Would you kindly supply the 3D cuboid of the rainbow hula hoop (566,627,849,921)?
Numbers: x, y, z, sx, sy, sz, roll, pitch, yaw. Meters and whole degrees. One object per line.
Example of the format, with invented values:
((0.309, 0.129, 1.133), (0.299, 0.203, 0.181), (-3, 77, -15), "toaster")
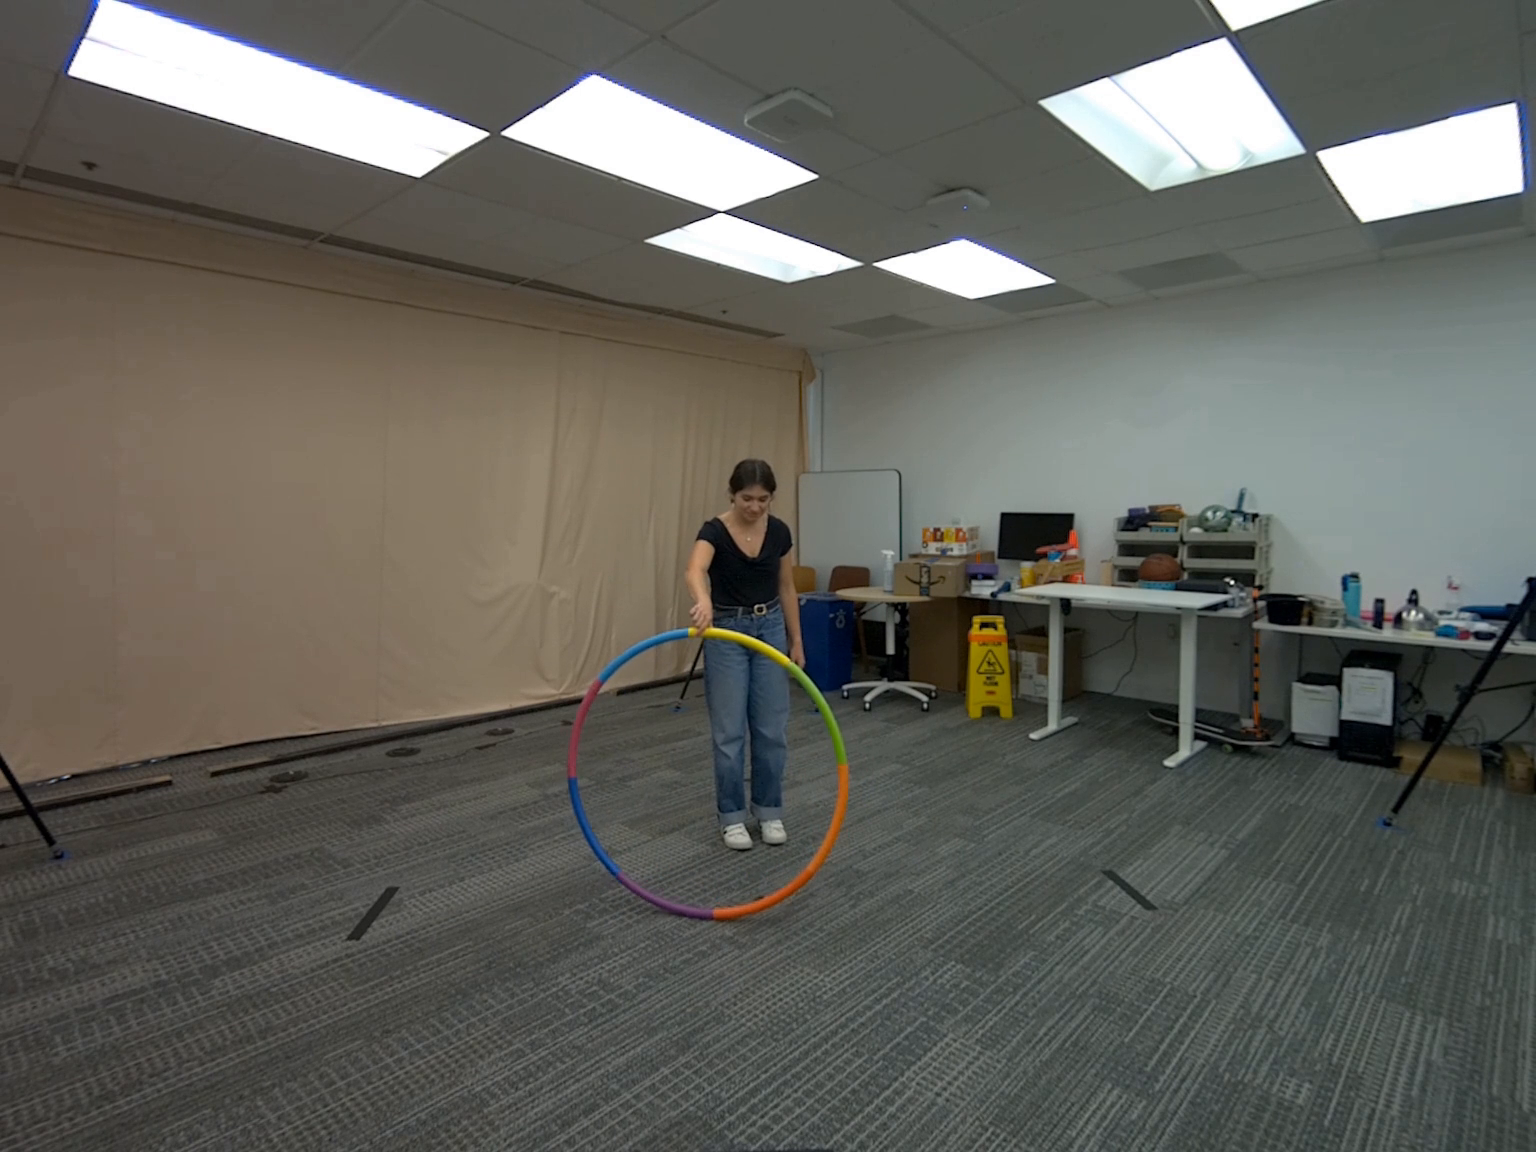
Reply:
((-0.218, 0.674, 2.887), (0.992, 0.981, 0.035), (1, -4, 13), "rainbow hula hoop")
